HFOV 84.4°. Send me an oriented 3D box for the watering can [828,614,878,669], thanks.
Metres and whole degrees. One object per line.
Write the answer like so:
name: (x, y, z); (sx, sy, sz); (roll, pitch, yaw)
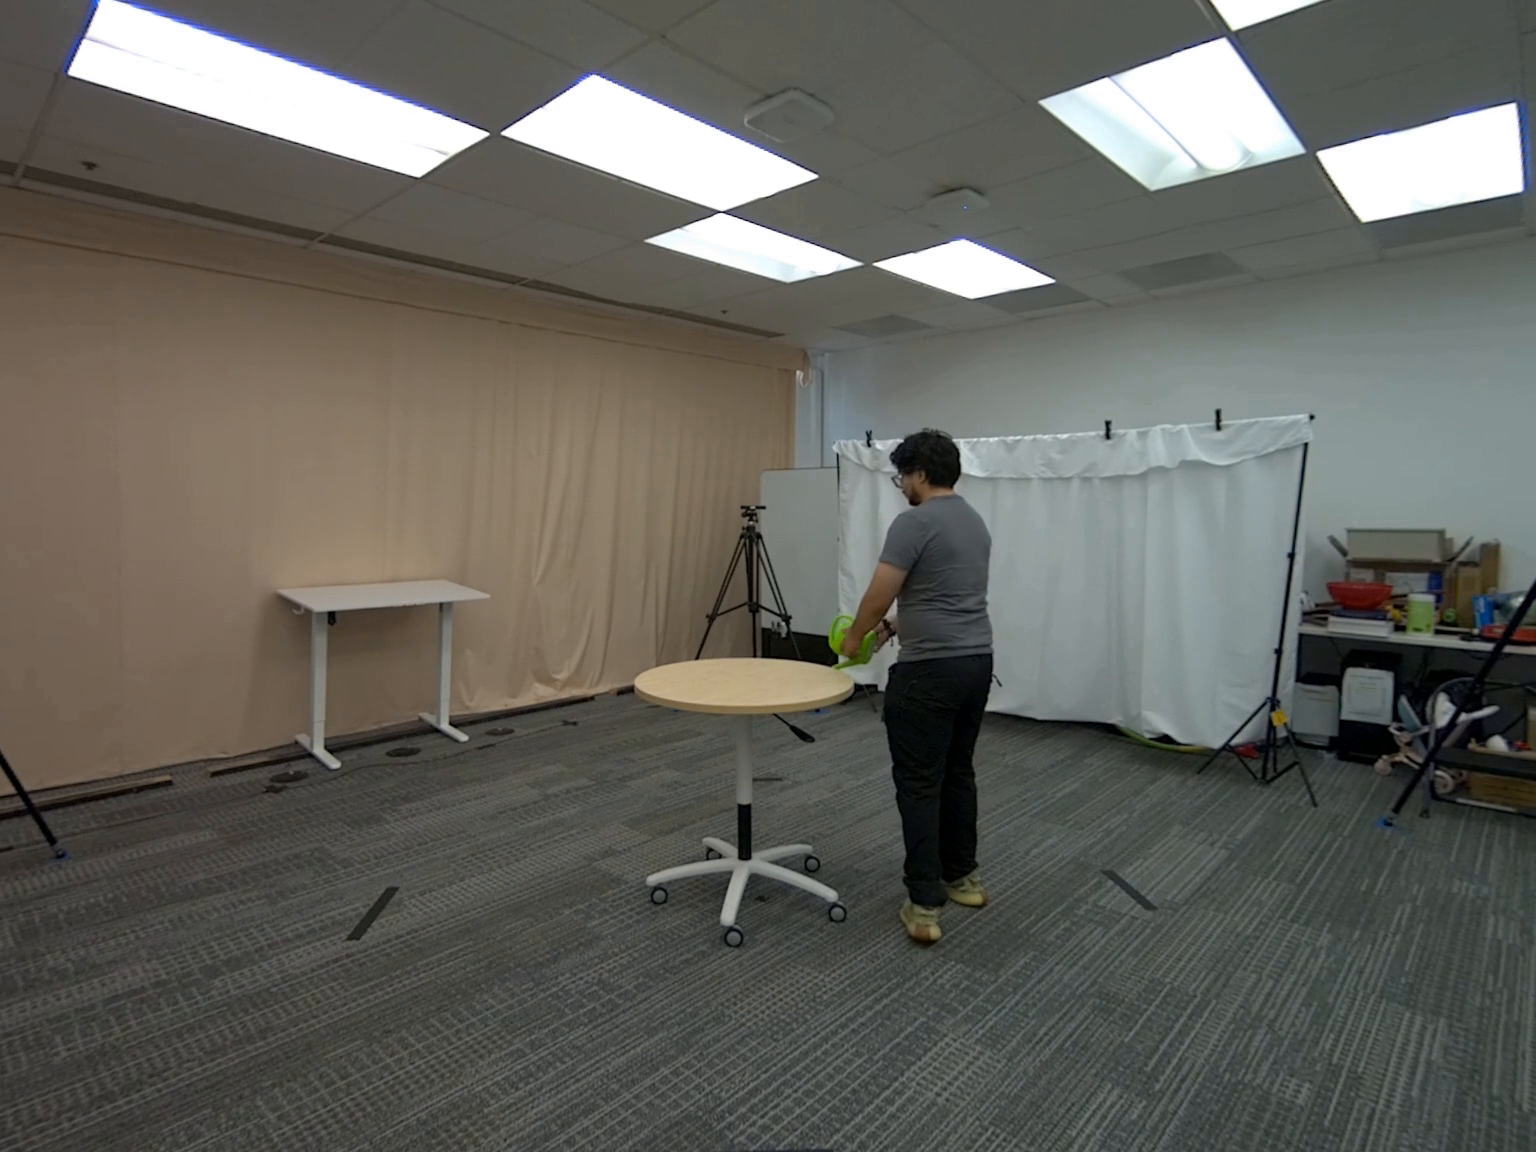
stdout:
watering can: (0.316, 0.283, 3.189); (0.182, 0.274, 0.096); (21, 31, 30)
